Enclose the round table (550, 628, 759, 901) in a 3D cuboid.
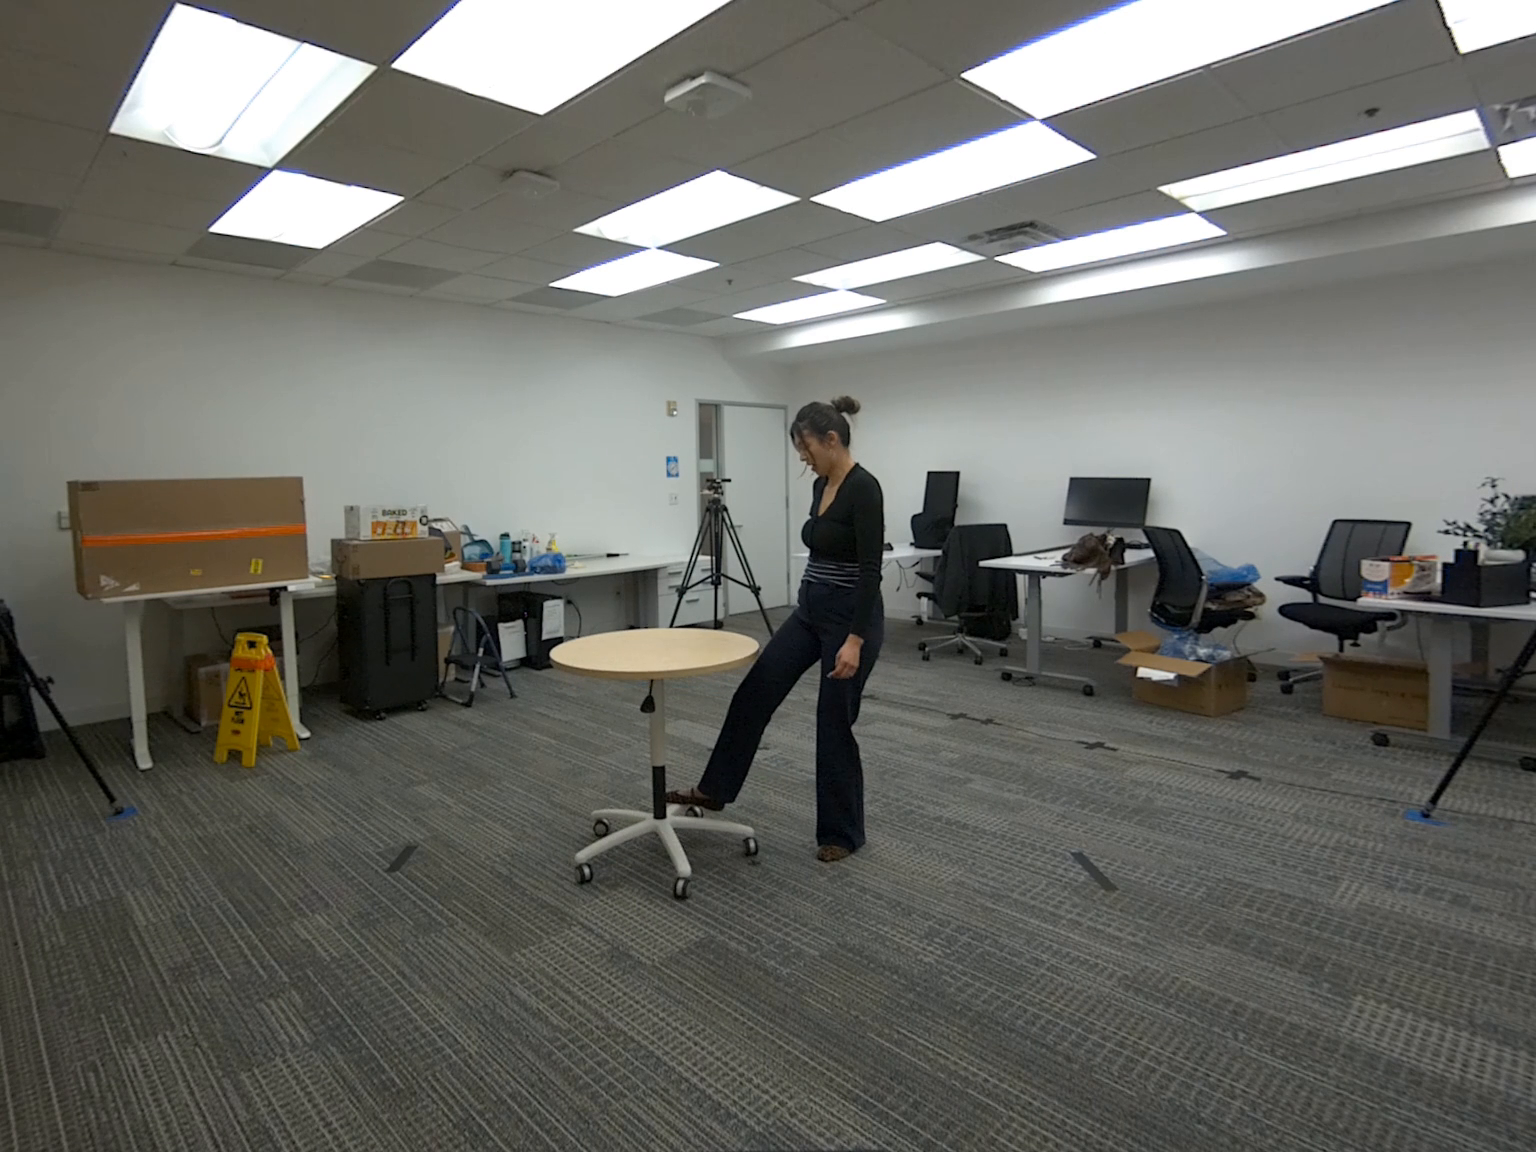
[{"bbox_3d":[-0.401,0.653,3.167,0.763,0.791,0.768,-2,5,-2],"label":"round table"}]
